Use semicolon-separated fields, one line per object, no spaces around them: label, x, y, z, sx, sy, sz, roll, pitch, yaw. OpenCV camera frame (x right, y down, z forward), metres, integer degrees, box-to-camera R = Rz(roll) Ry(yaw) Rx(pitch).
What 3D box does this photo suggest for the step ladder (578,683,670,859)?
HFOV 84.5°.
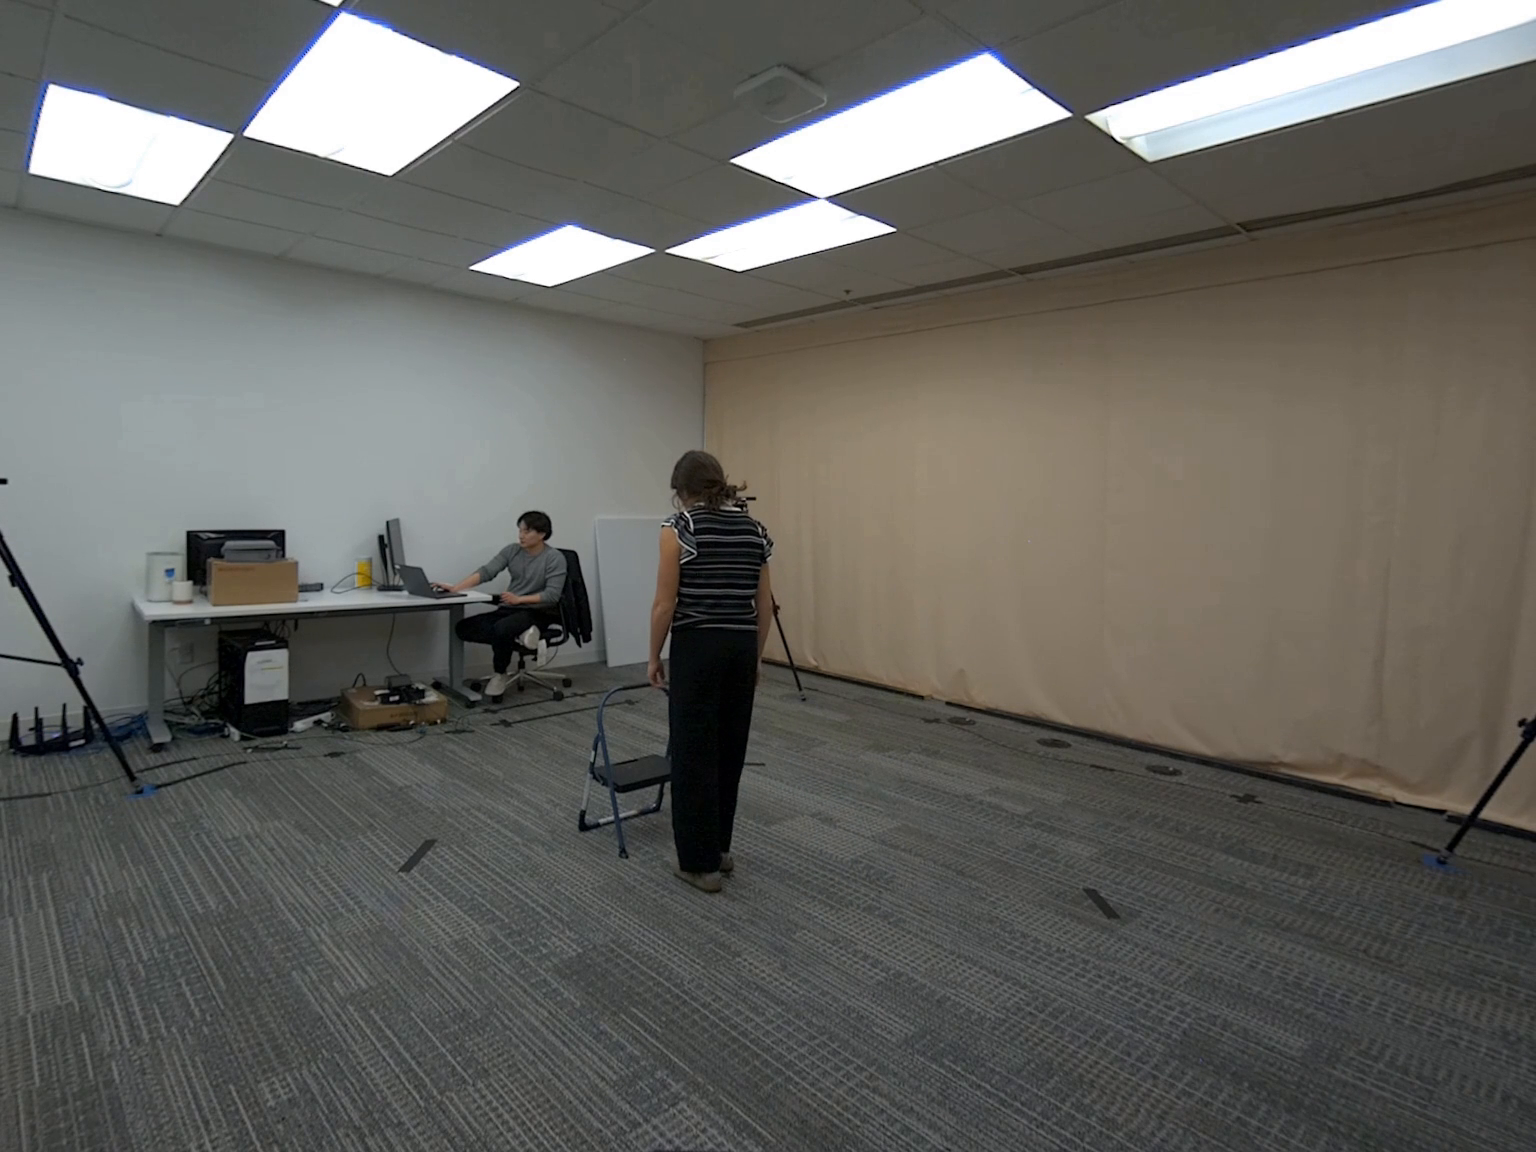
step ladder;-0.520;0.762;3.482;0.421;0.604;0.358;-2;5;-43
